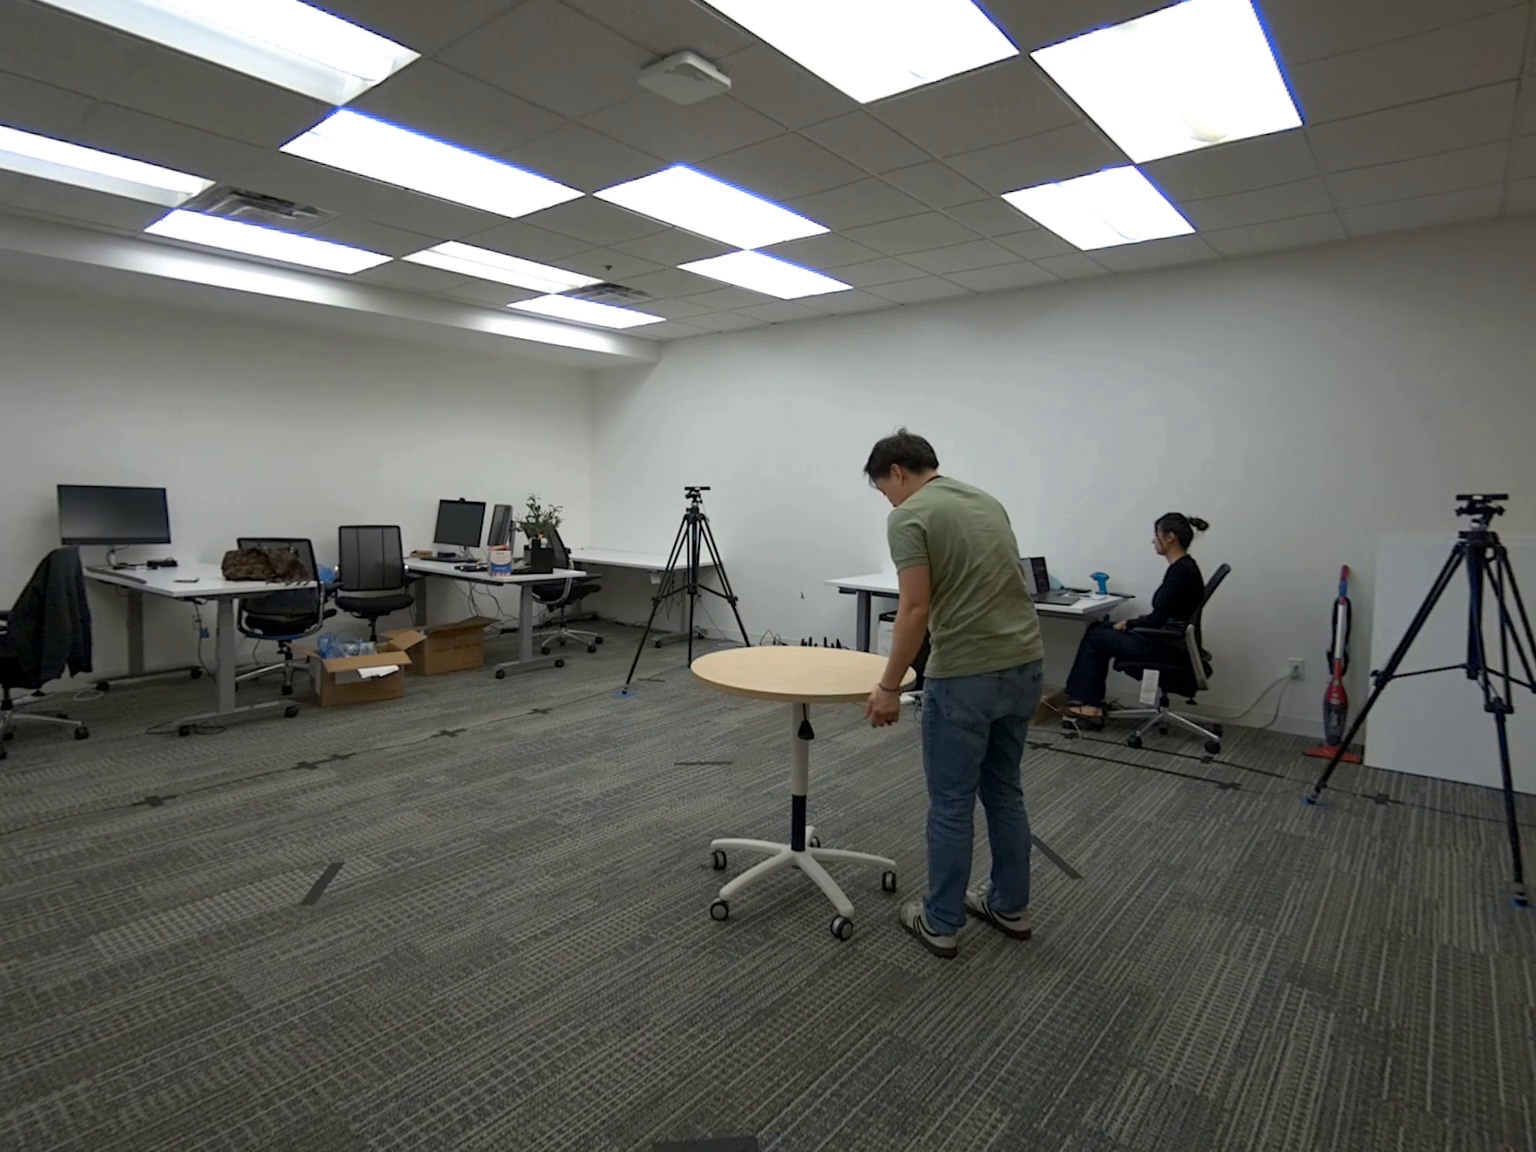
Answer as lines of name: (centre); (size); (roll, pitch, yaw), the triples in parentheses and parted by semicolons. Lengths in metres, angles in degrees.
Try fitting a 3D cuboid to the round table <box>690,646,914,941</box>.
round table: (0.098, 0.700, 2.942); (0.763, 0.791, 0.768); (1, 5, -2)
